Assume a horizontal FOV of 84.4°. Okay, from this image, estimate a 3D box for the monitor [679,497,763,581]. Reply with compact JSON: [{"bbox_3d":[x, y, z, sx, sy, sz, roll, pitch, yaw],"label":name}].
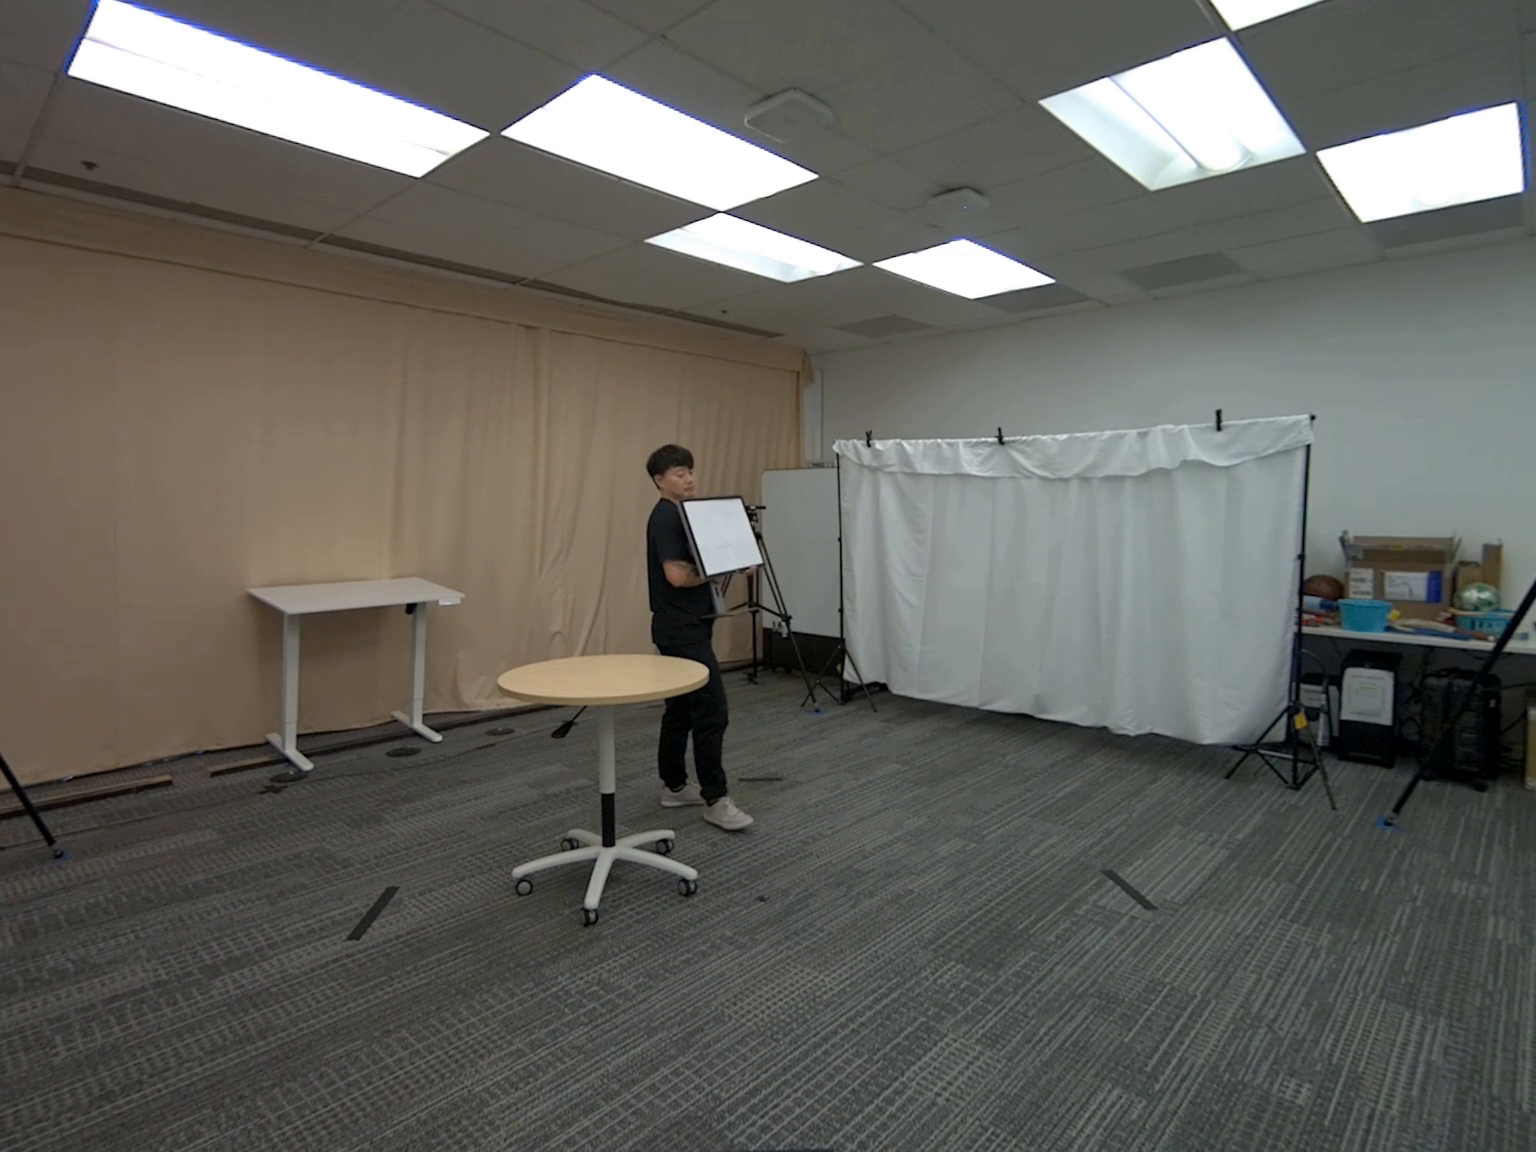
[{"bbox_3d":[-0.211,-0.091,3.806,0.192,0.522,0.526,-9,1,28],"label":"monitor"}]
